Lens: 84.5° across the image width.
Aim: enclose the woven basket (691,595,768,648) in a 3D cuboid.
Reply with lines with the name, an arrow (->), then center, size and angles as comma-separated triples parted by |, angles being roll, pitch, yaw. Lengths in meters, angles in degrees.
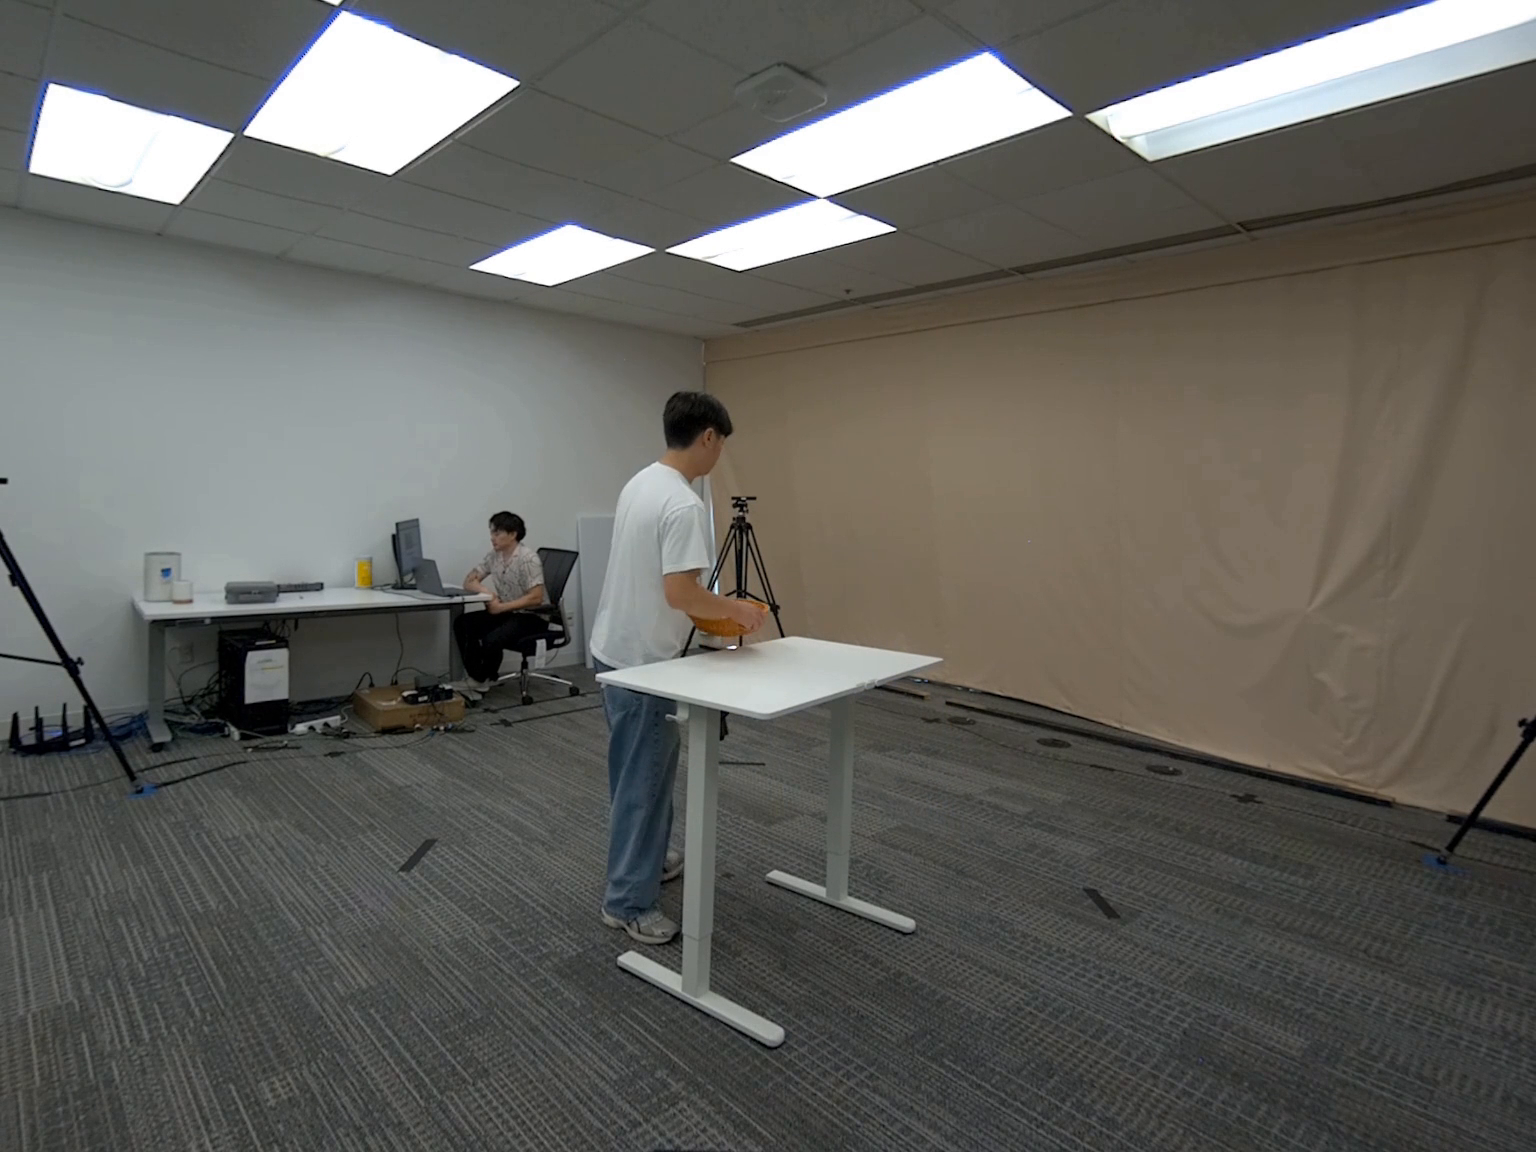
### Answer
woven basket -> -0.165, 0.152, 2.877 | 0.249, 0.073, 0.357 | -8, 10, -19
